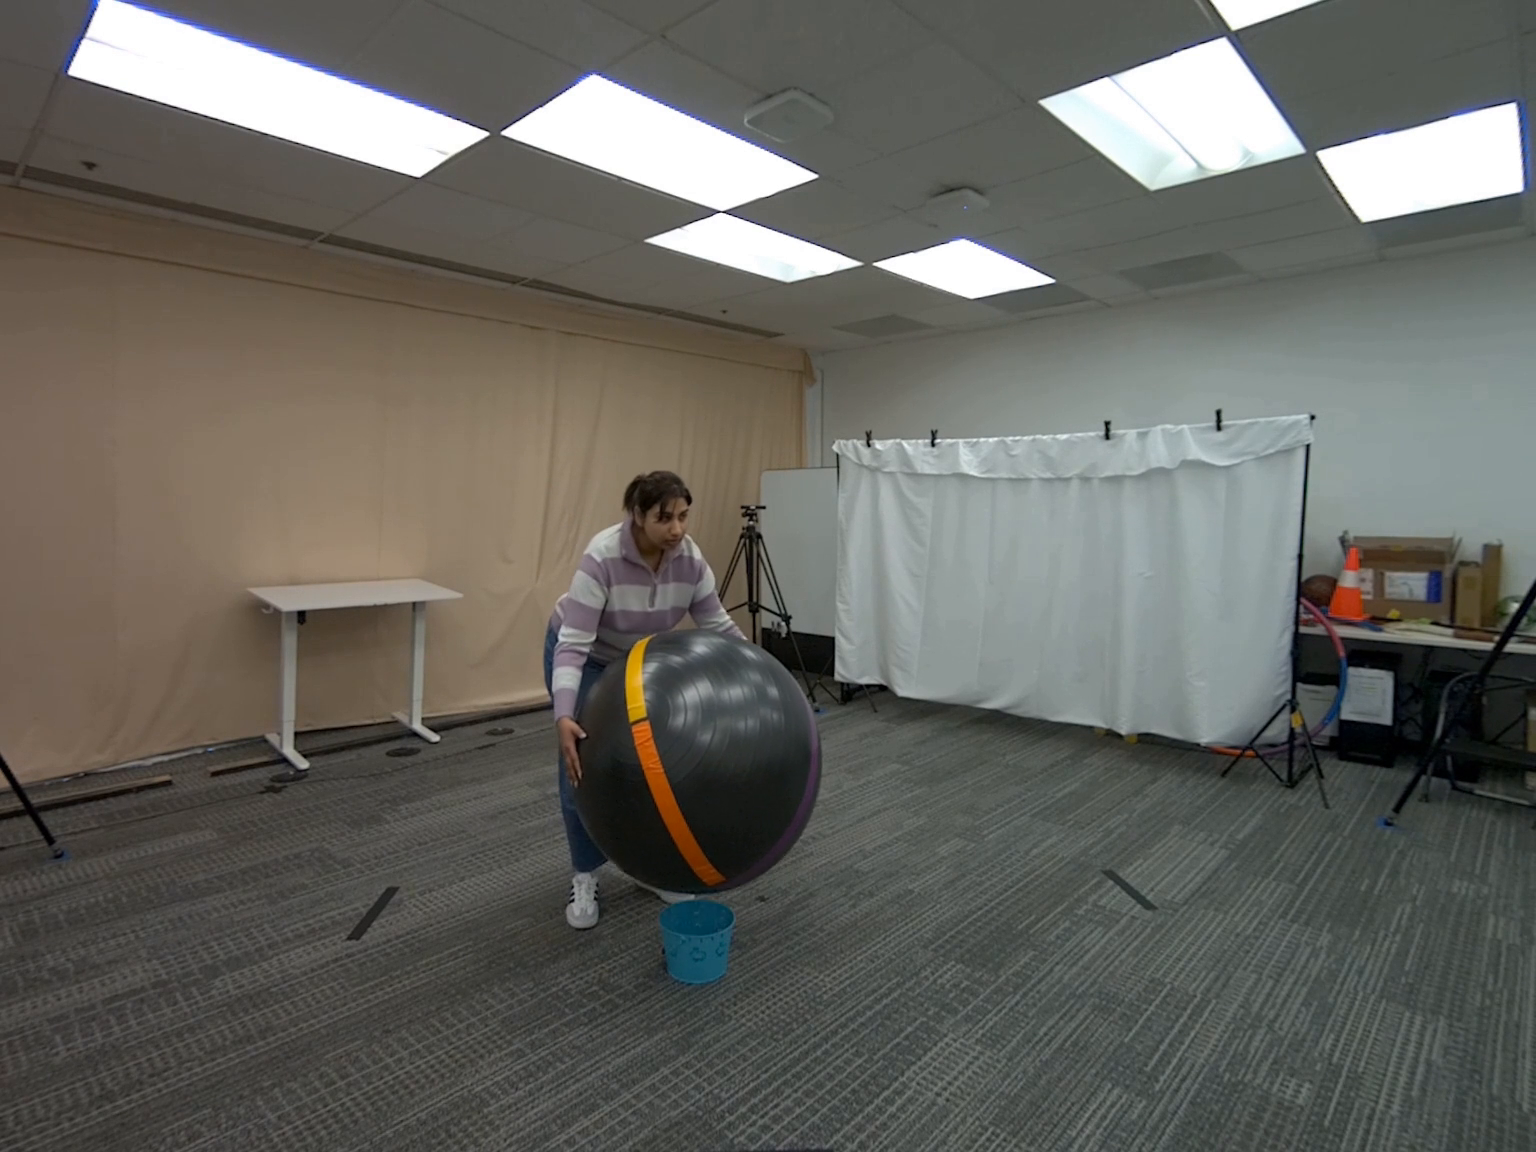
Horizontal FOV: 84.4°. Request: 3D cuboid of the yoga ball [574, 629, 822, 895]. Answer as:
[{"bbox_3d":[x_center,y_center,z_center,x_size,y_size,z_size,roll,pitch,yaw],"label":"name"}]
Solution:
[{"bbox_3d":[-0.210,0.545,2.503,0.757,0.756,0.761,0,4,-2],"label":"yoga ball"}]
